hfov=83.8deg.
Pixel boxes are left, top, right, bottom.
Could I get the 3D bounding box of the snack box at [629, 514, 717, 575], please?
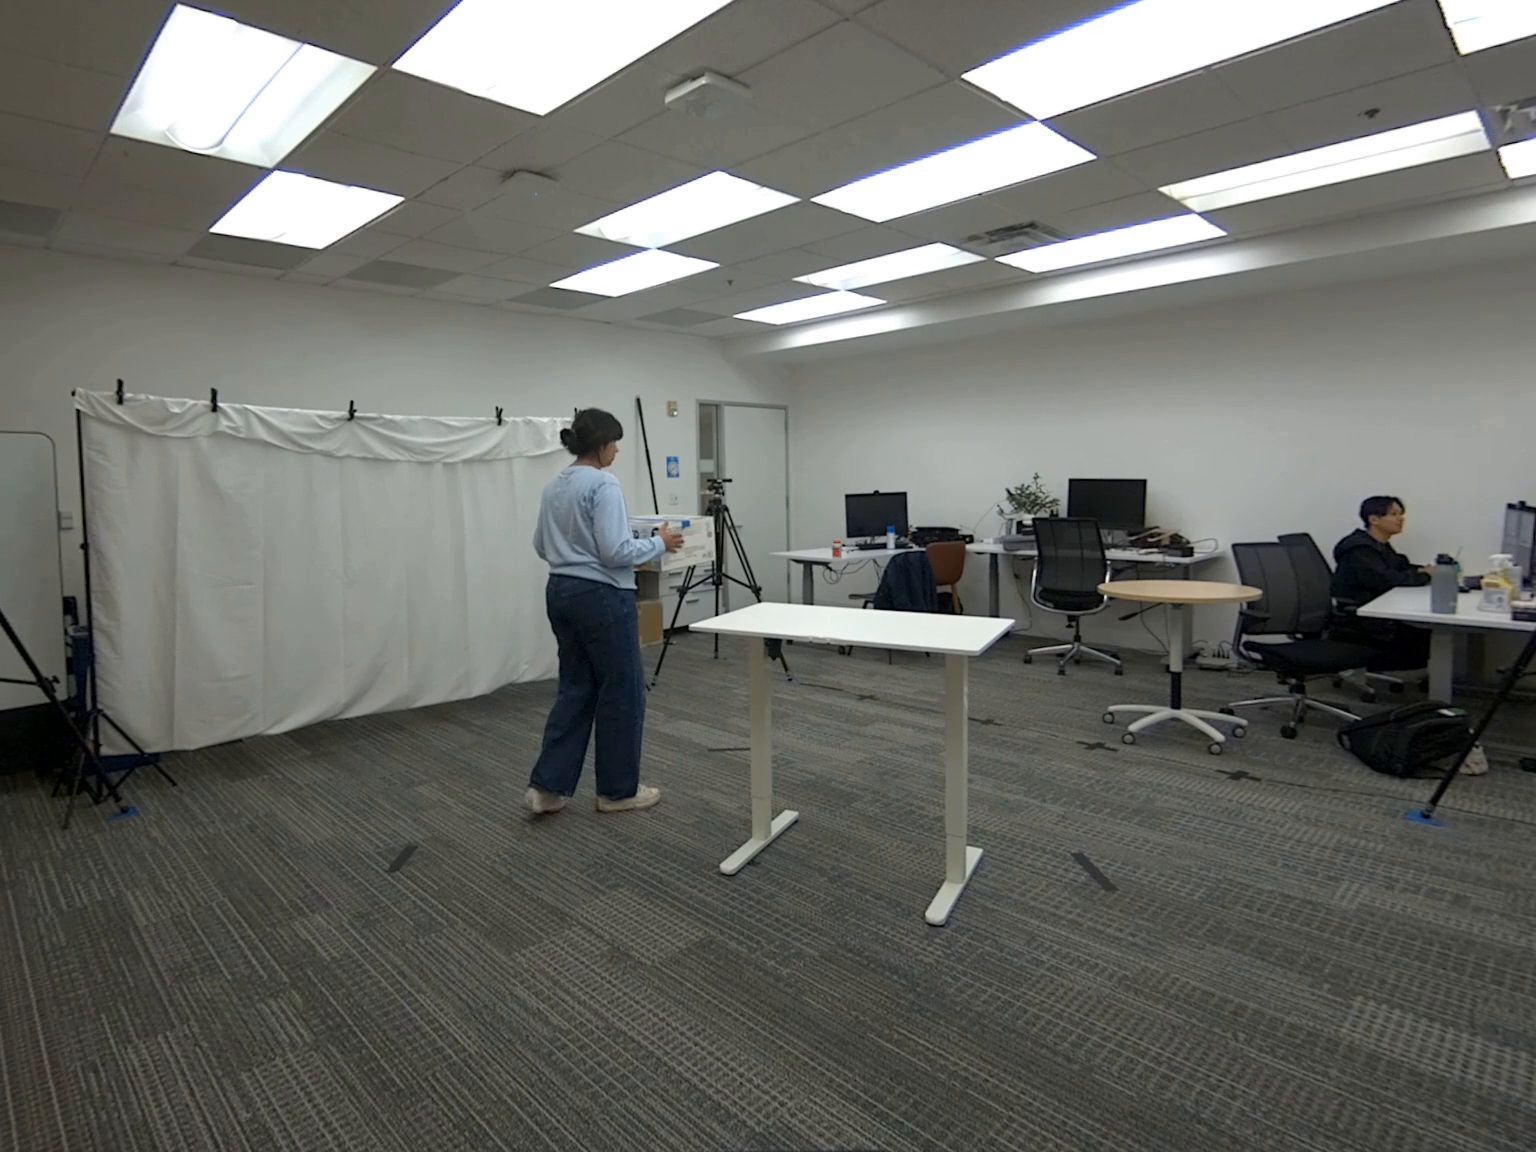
[{"bbox_3d":[-0.504,-0.153,3.878,0.418,0.204,0.333,5,12,41],"label":"snack box"}]
